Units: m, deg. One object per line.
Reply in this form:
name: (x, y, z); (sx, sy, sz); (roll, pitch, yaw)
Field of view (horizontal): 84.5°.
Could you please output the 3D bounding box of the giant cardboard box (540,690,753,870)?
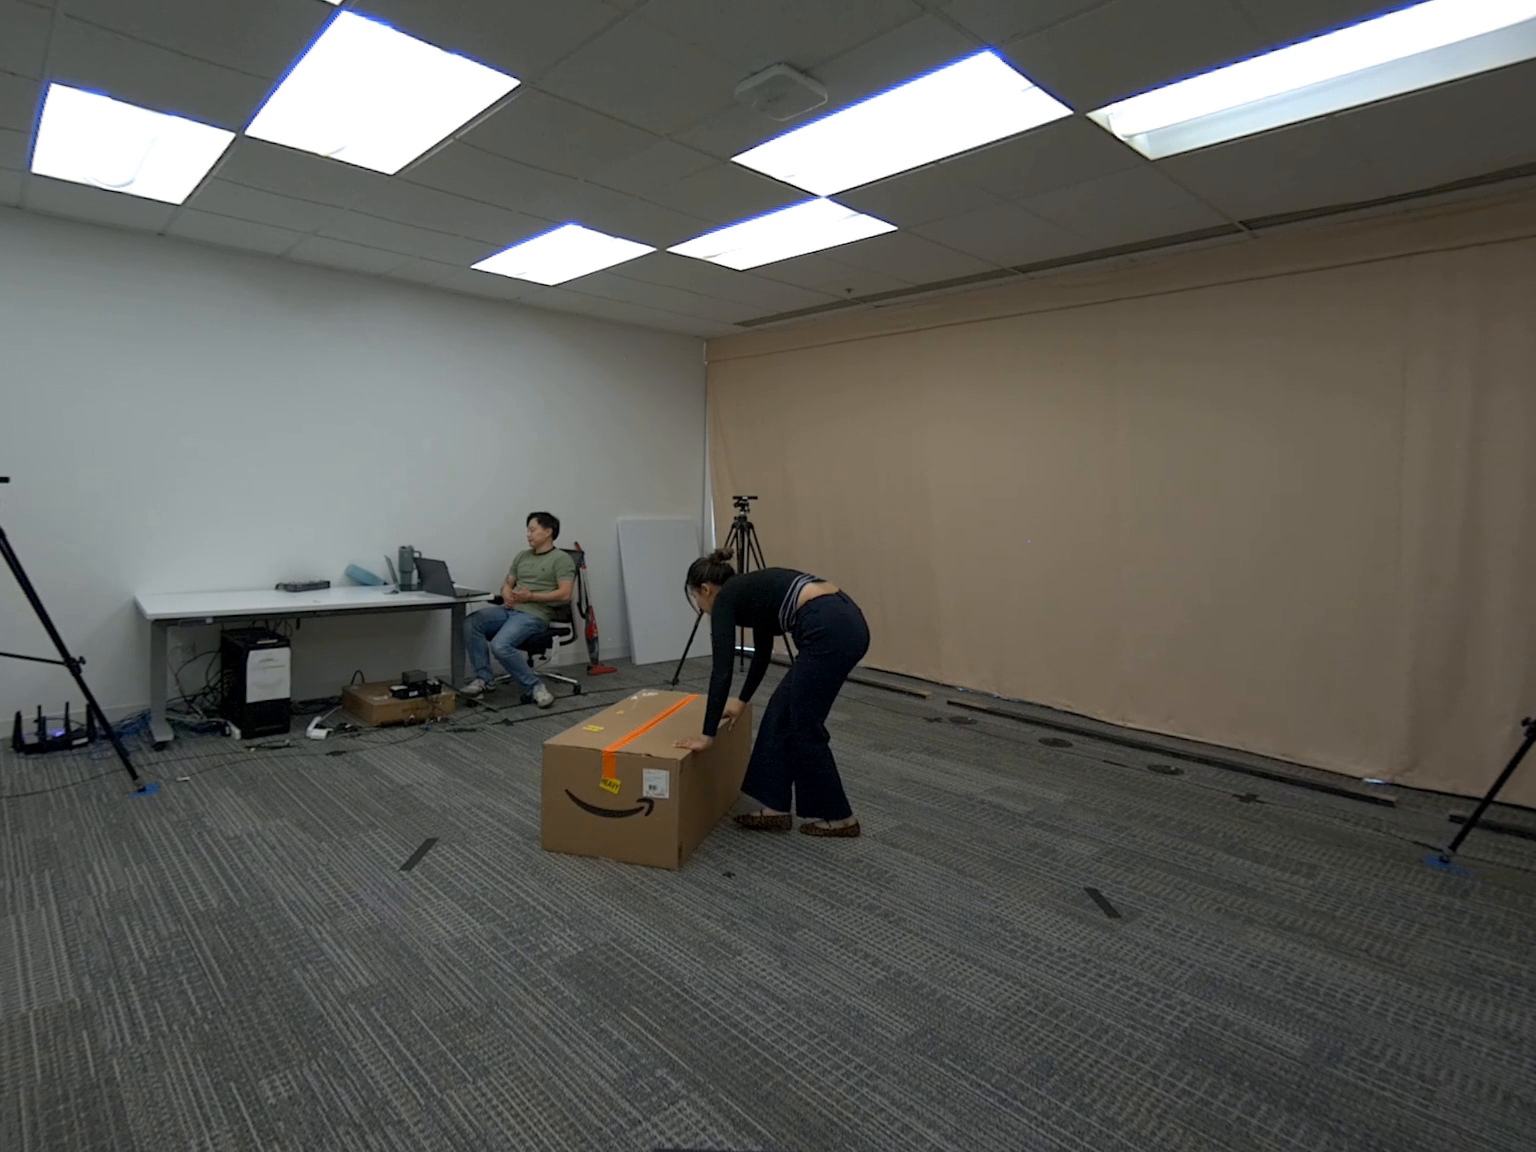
giant cardboard box: (-0.487, 0.831, 3.682); (0.585, 0.425, 1.016); (4, 5, 14)
